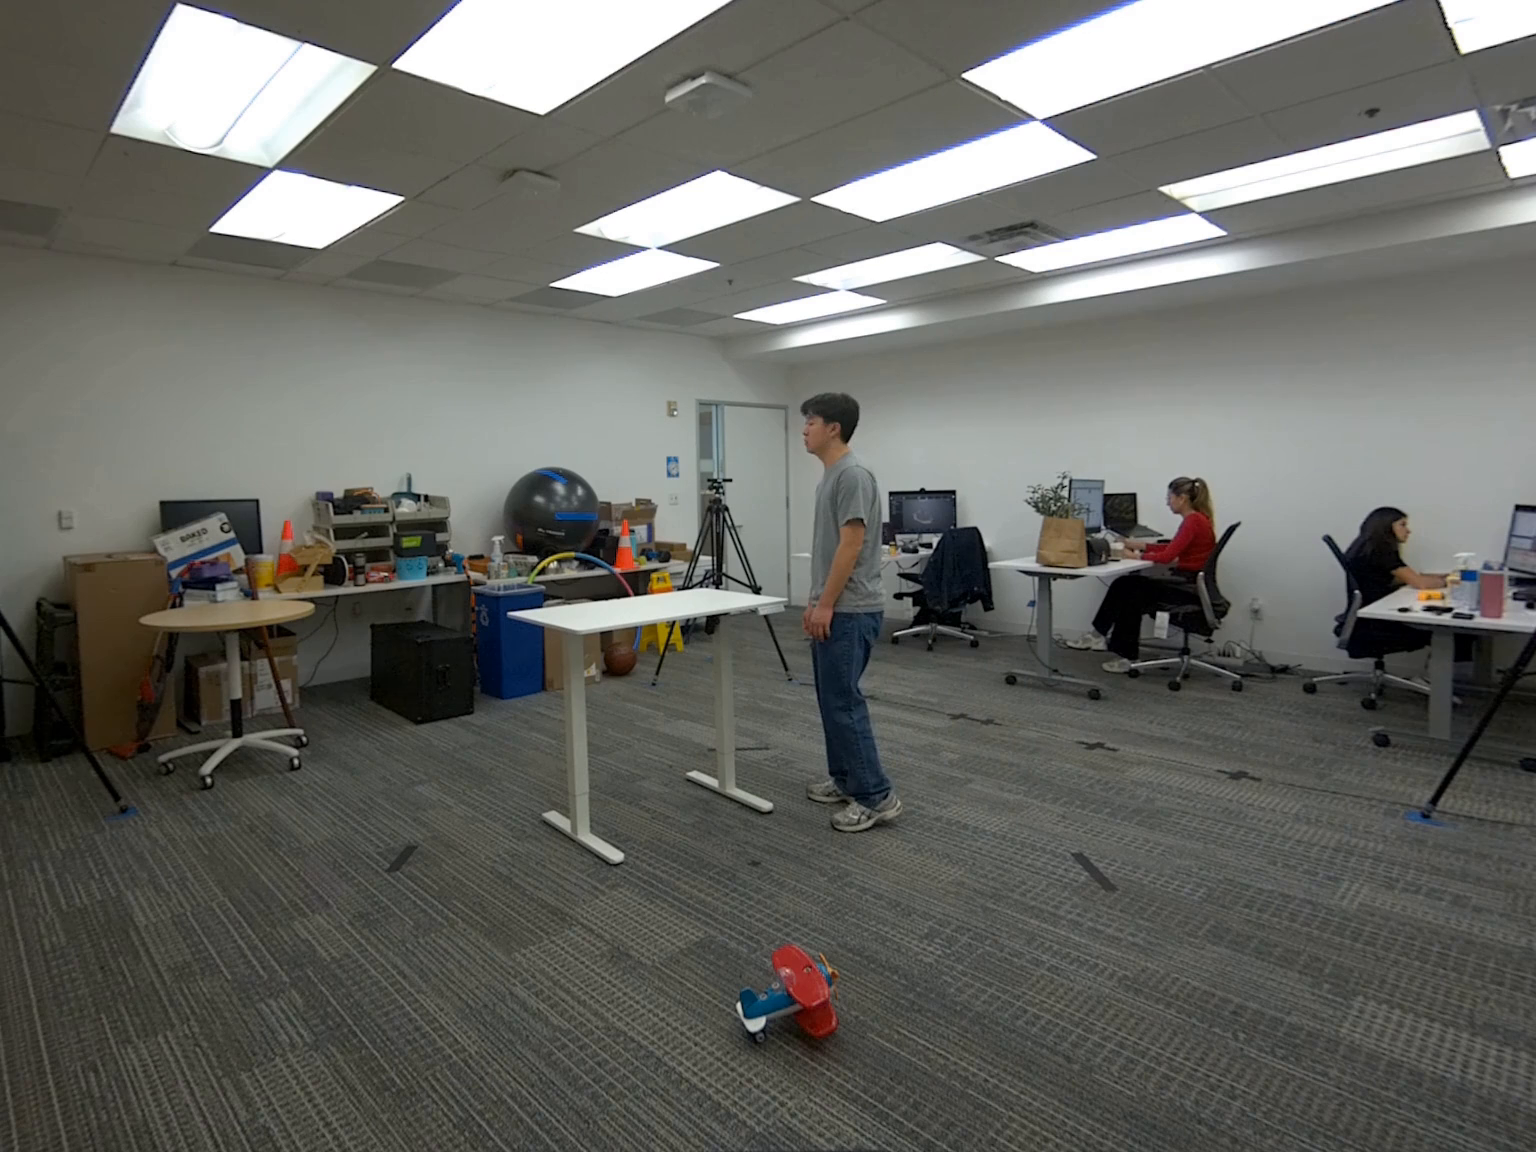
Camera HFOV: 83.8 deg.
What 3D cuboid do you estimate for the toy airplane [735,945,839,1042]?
[{"bbox_3d":[0.069,1.080,2.152,0.259,0.156,0.252,6,8,43],"label":"toy airplane"}]
